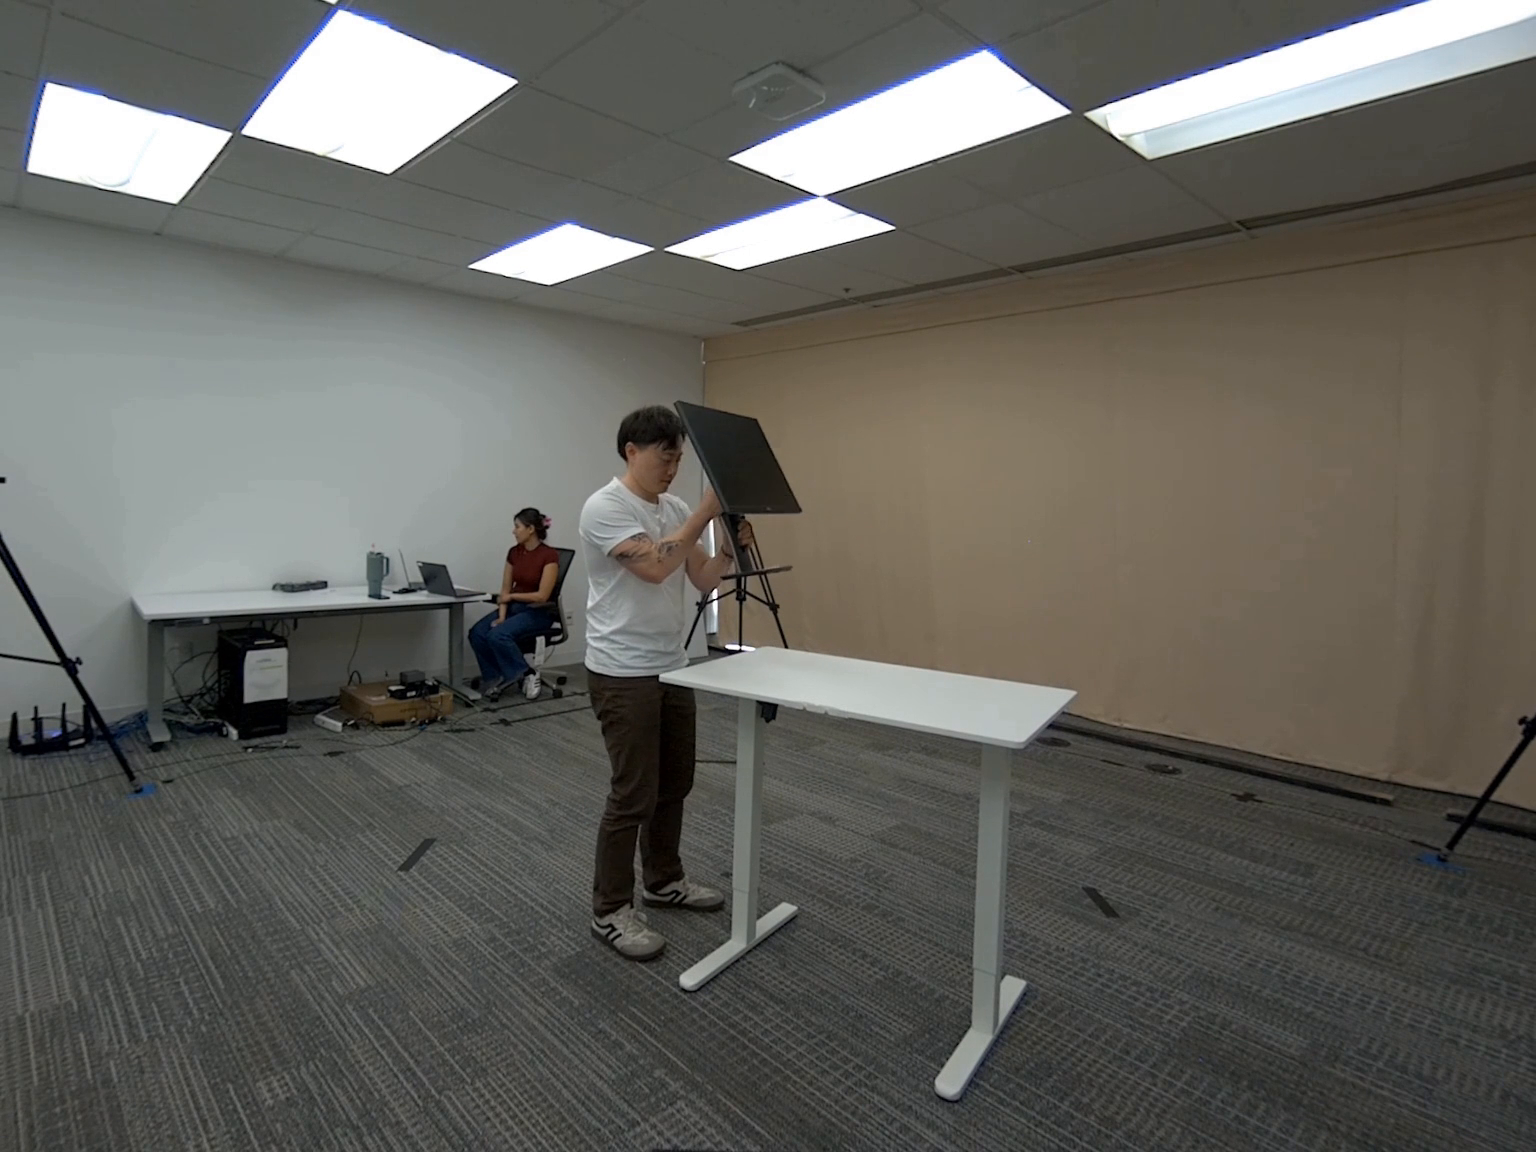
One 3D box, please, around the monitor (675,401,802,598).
[{"bbox_3d":[-0.093,-0.254,2.548,0.189,0.524,0.530,-14,-3,24],"label":"monitor"}]
